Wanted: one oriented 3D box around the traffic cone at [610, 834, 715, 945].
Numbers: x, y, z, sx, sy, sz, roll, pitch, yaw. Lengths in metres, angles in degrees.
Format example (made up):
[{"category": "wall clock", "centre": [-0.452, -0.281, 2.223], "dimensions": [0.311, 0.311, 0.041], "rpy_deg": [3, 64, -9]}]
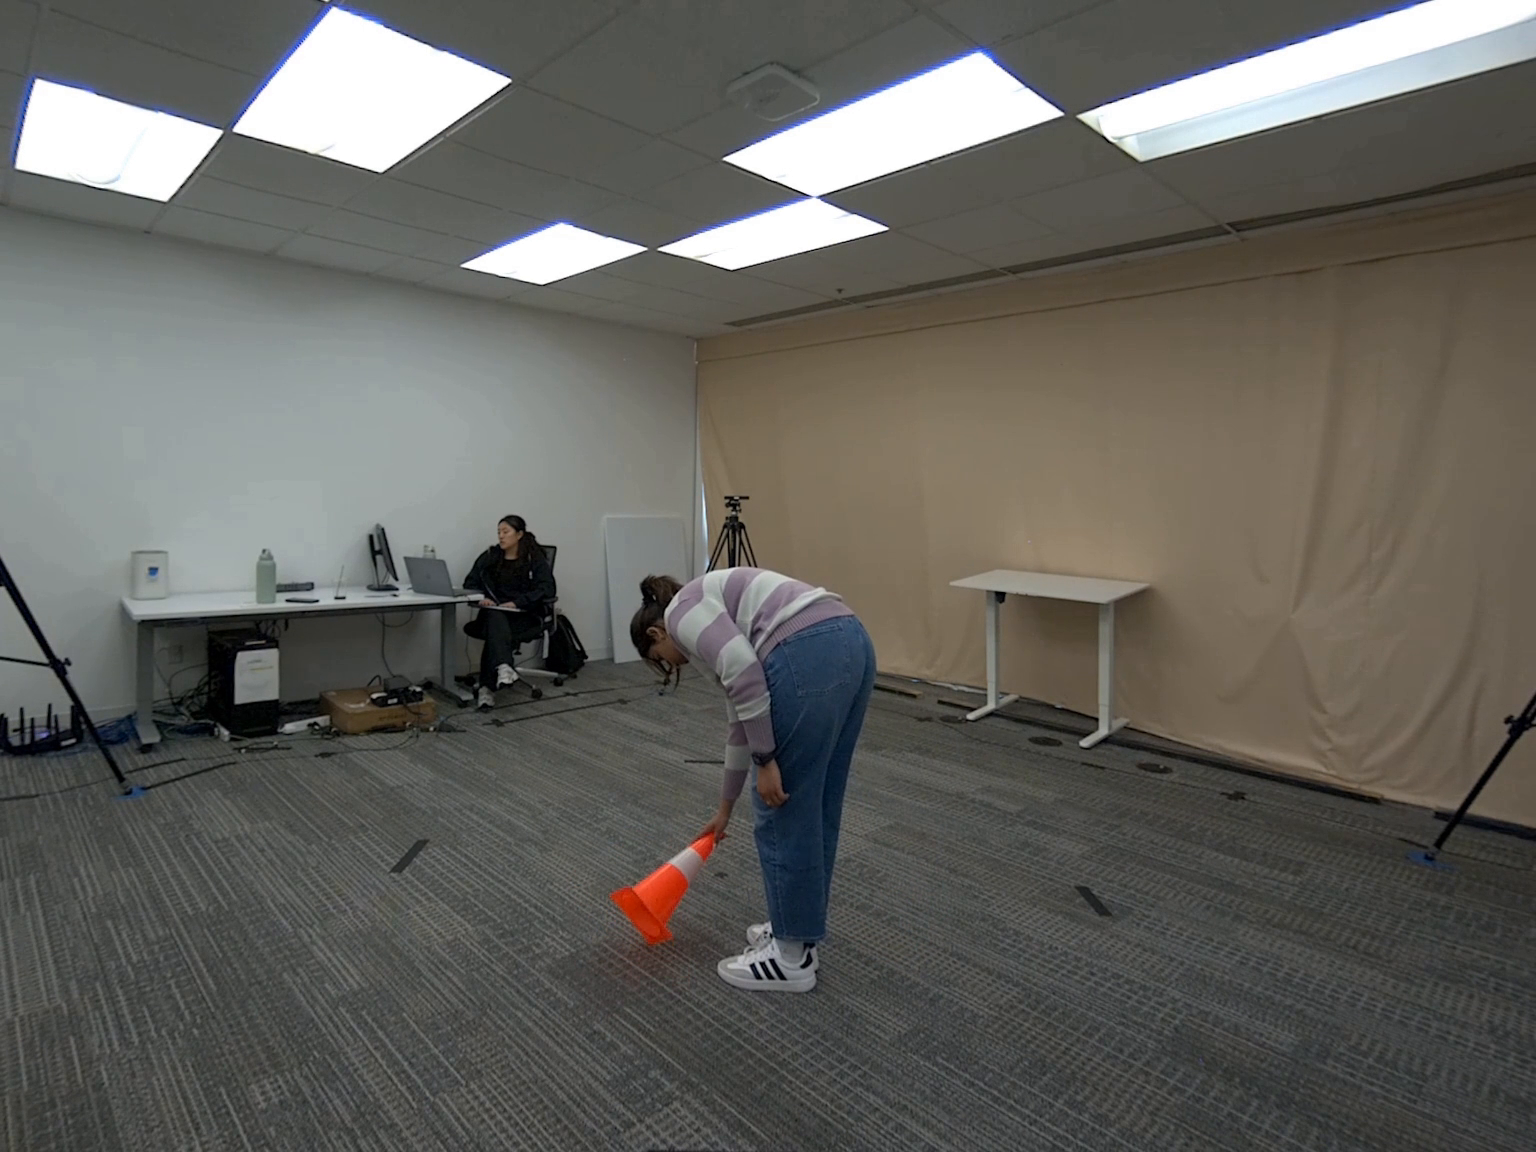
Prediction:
[{"category": "traffic cone", "centre": [-0.284, 0.930, 2.671], "dimensions": [0.382, 0.206, 0.203], "rpy_deg": [-41, -3, -40]}]
